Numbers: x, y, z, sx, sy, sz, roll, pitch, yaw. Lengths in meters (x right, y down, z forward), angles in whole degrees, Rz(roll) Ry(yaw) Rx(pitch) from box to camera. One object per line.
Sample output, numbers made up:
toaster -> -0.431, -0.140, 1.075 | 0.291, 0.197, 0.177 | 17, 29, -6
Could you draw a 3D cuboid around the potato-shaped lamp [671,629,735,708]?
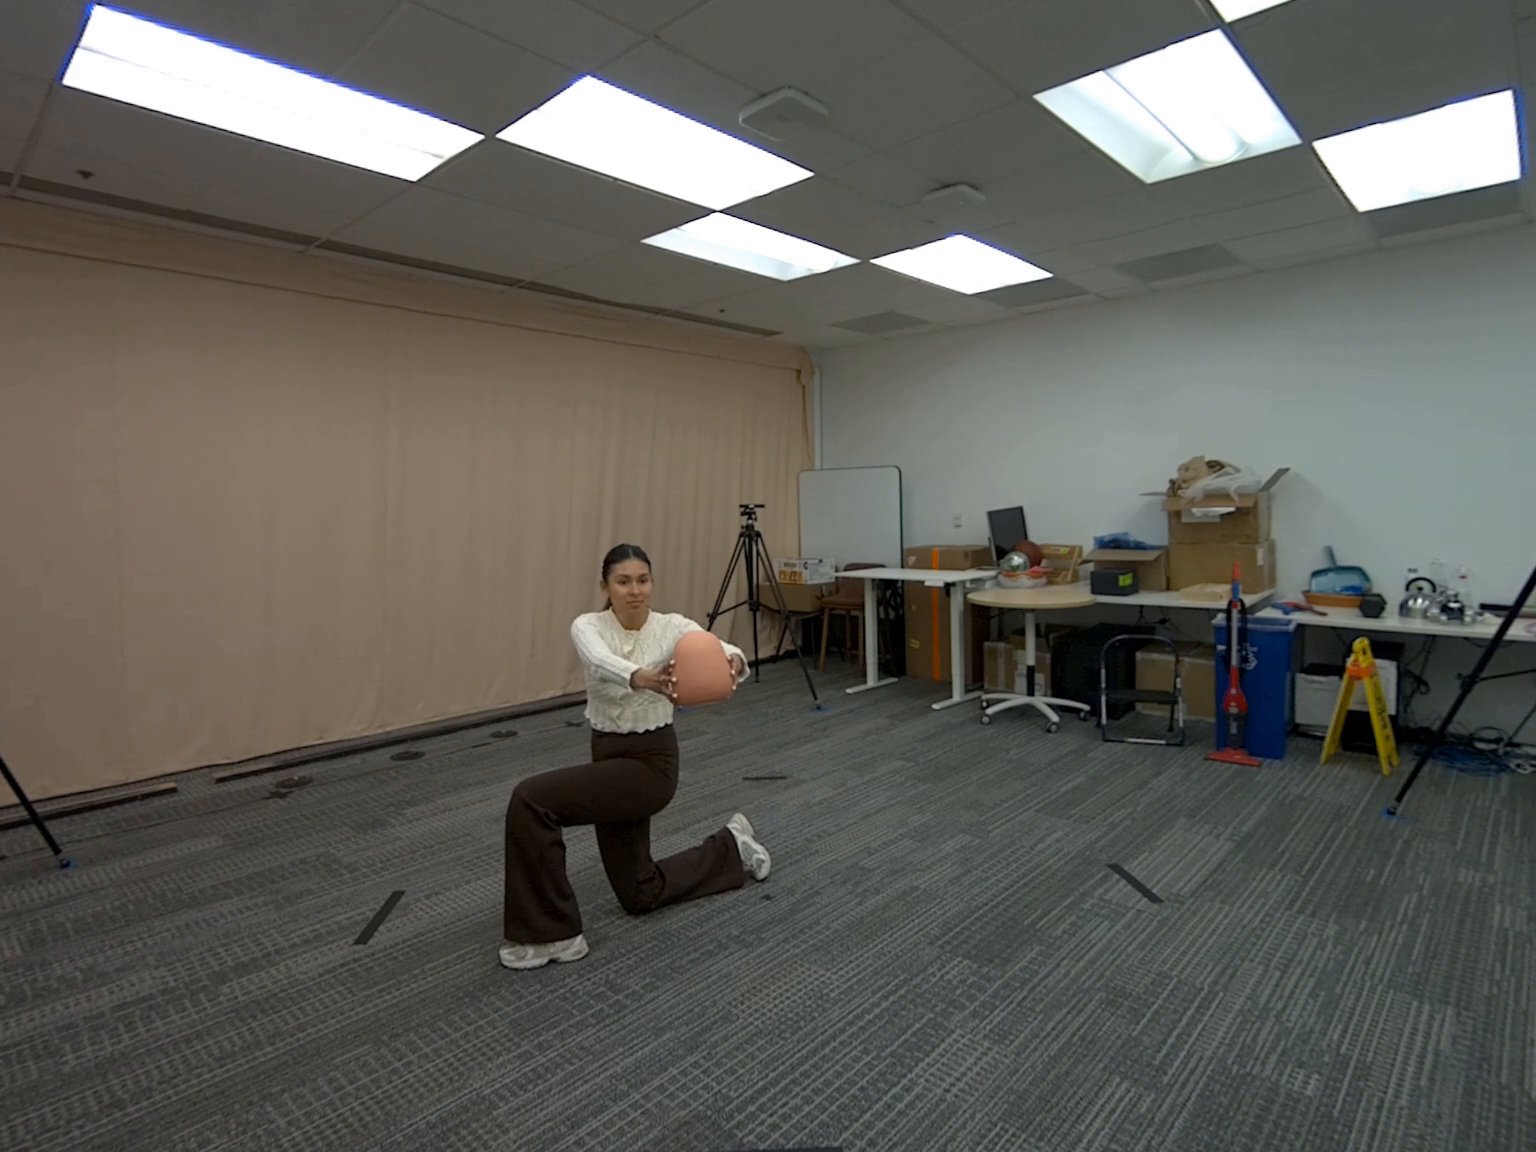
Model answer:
potato-shaped lamp -> -0.201, 0.243, 2.237 | 0.164, 0.200, 0.171 | -1, -15, -7
